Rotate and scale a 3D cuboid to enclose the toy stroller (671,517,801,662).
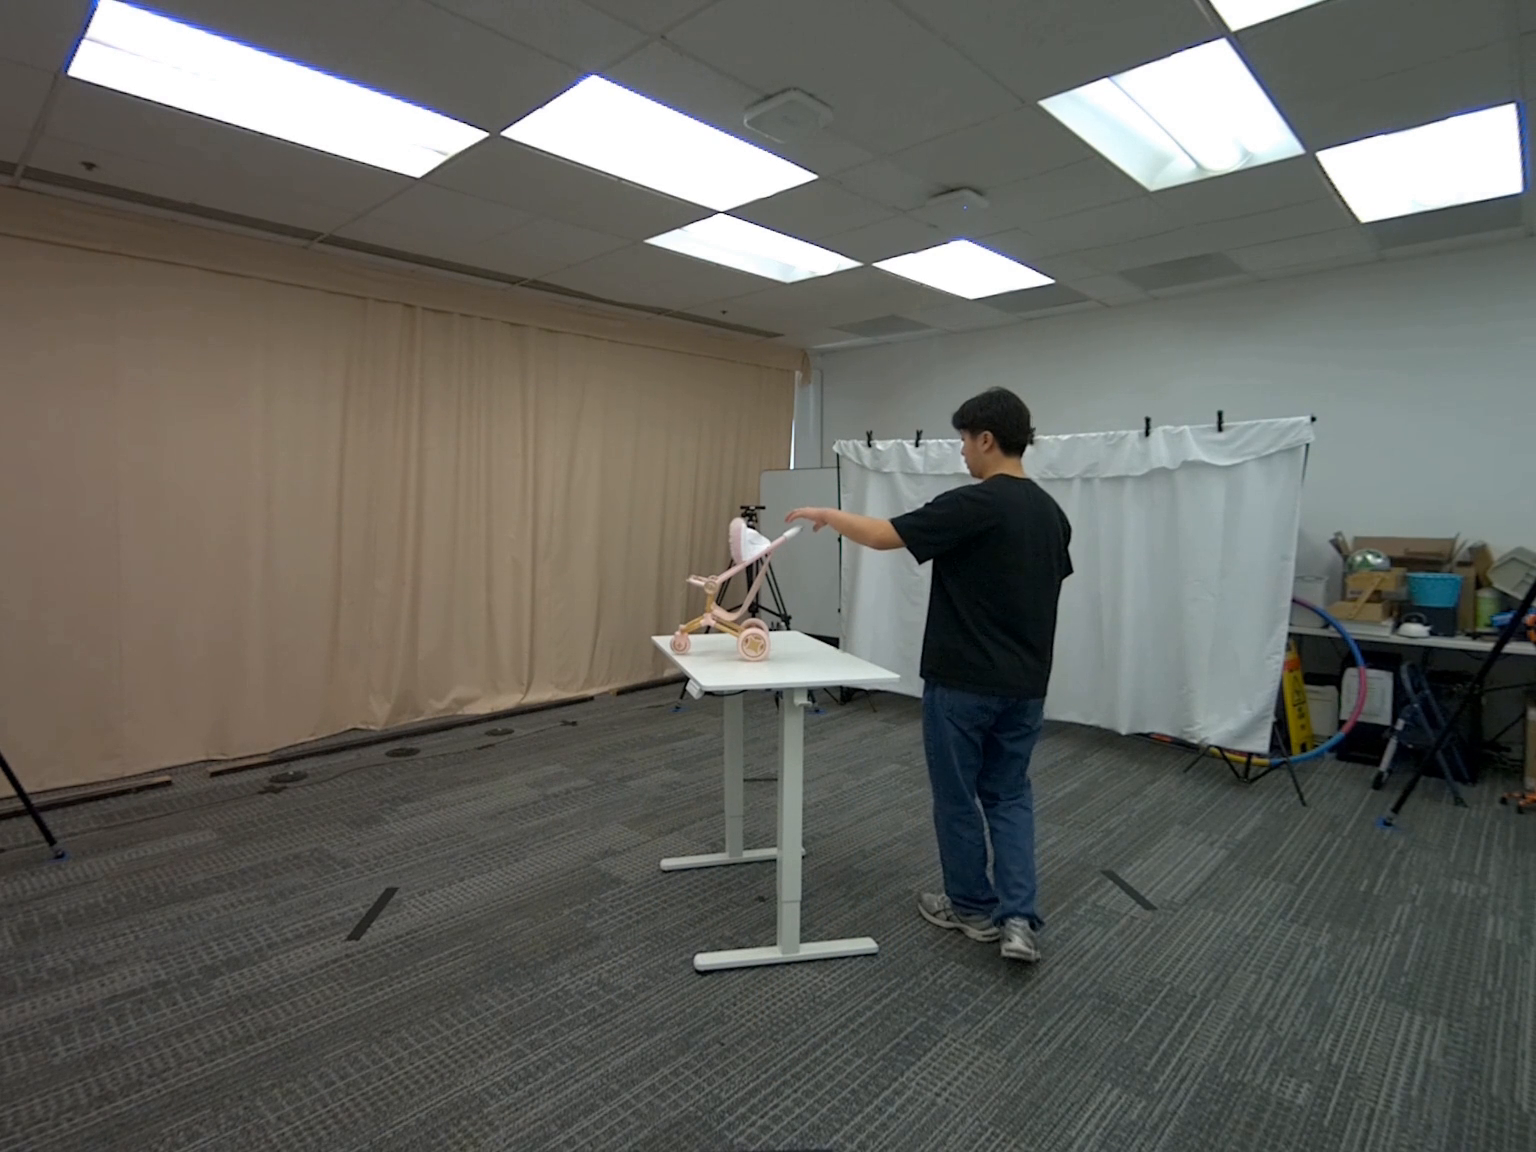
[{"bbox_3d":[-0.116,0.047,2.868,0.344,0.534,0.280,15,4,6],"label":"toy stroller"}]
